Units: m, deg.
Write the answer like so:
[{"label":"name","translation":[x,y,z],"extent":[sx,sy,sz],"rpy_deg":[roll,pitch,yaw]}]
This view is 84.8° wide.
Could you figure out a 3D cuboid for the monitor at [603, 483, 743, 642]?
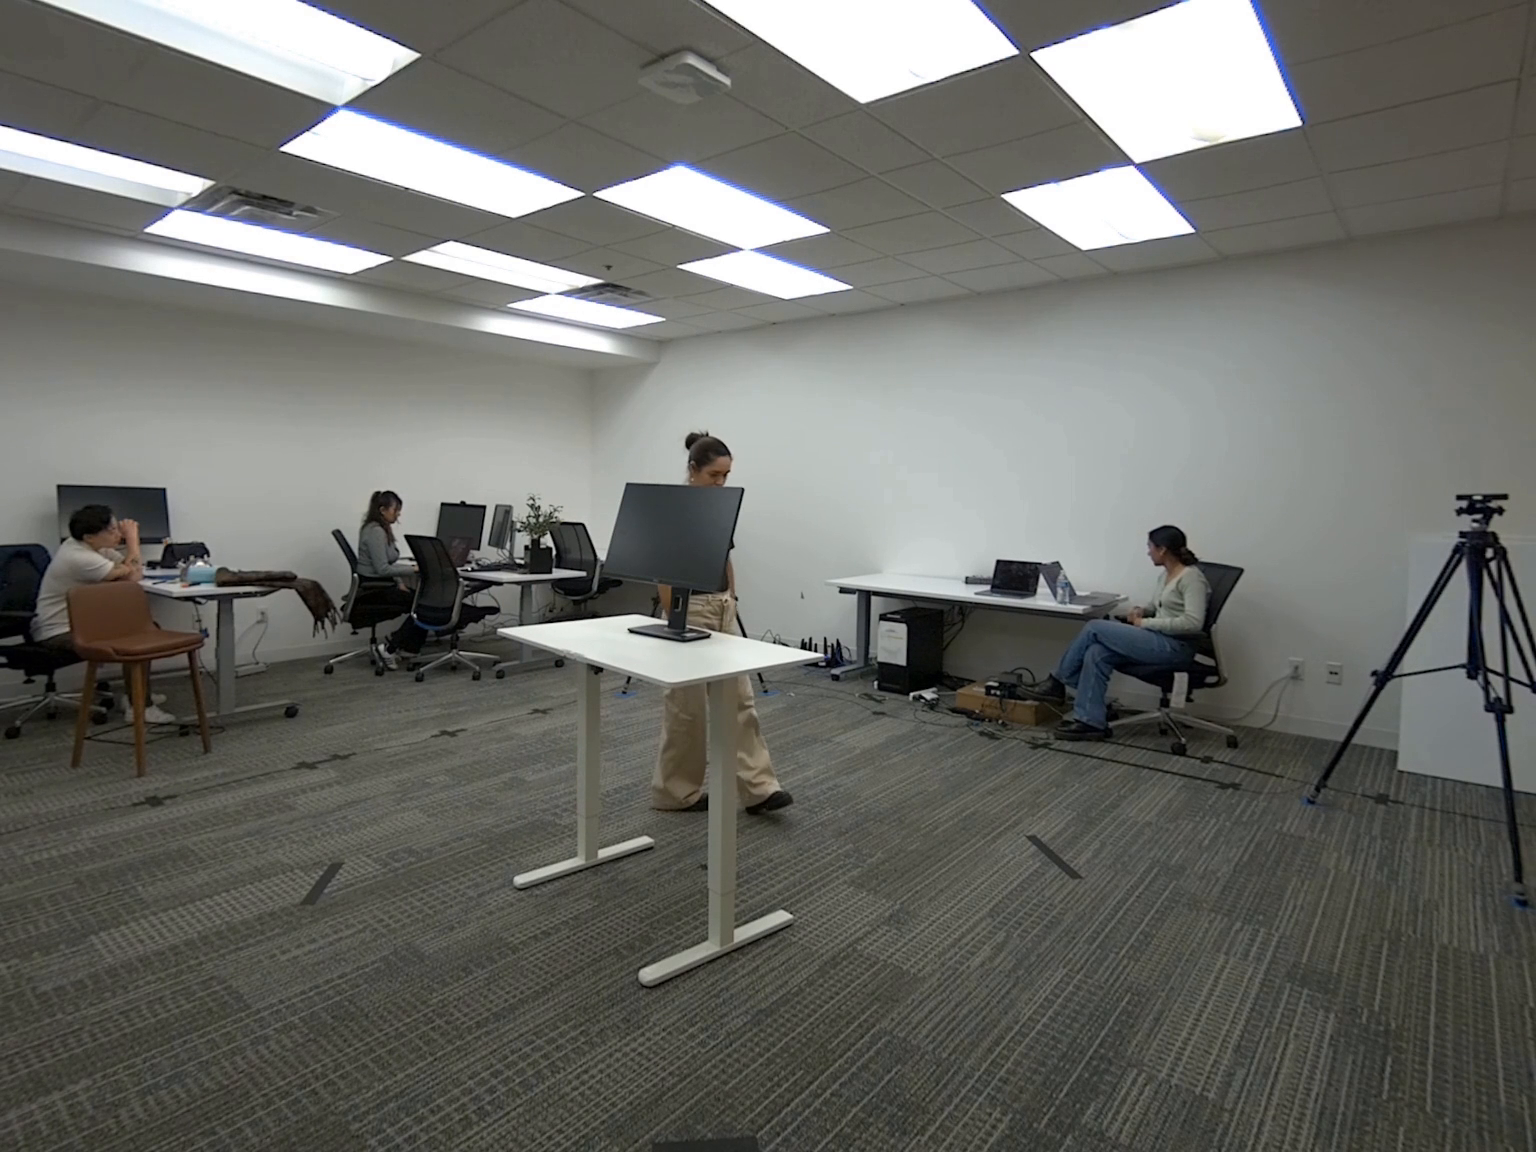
[{"label":"monitor","translation":[-0.333,-0.055,2.921],"extent":[0.557,0.522,0.181],"rpy_deg":[5,1,35]}]
